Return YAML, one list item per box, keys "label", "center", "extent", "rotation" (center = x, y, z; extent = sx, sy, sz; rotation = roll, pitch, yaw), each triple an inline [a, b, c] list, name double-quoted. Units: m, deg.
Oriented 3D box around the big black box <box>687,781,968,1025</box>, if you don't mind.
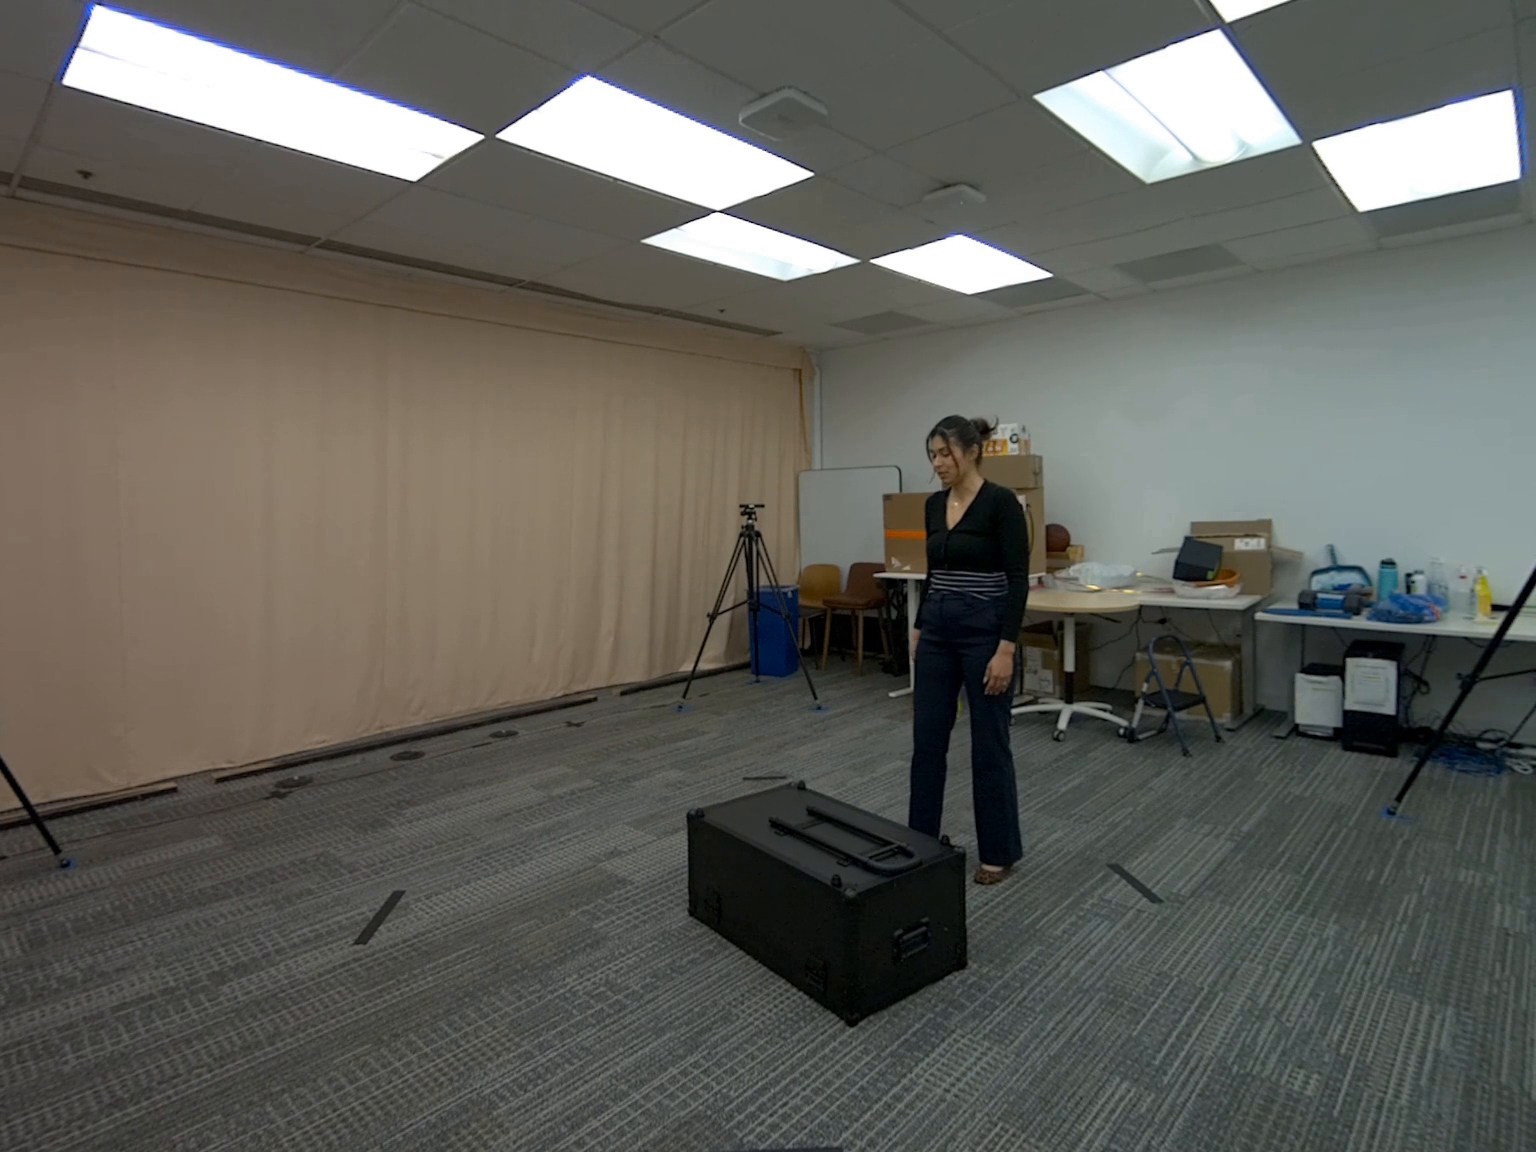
- label: "big black box"
  center: [0.180, 0.990, 2.655]
  extent: [0.506, 0.395, 0.889]
  rotation: [-4, 5, -38]
